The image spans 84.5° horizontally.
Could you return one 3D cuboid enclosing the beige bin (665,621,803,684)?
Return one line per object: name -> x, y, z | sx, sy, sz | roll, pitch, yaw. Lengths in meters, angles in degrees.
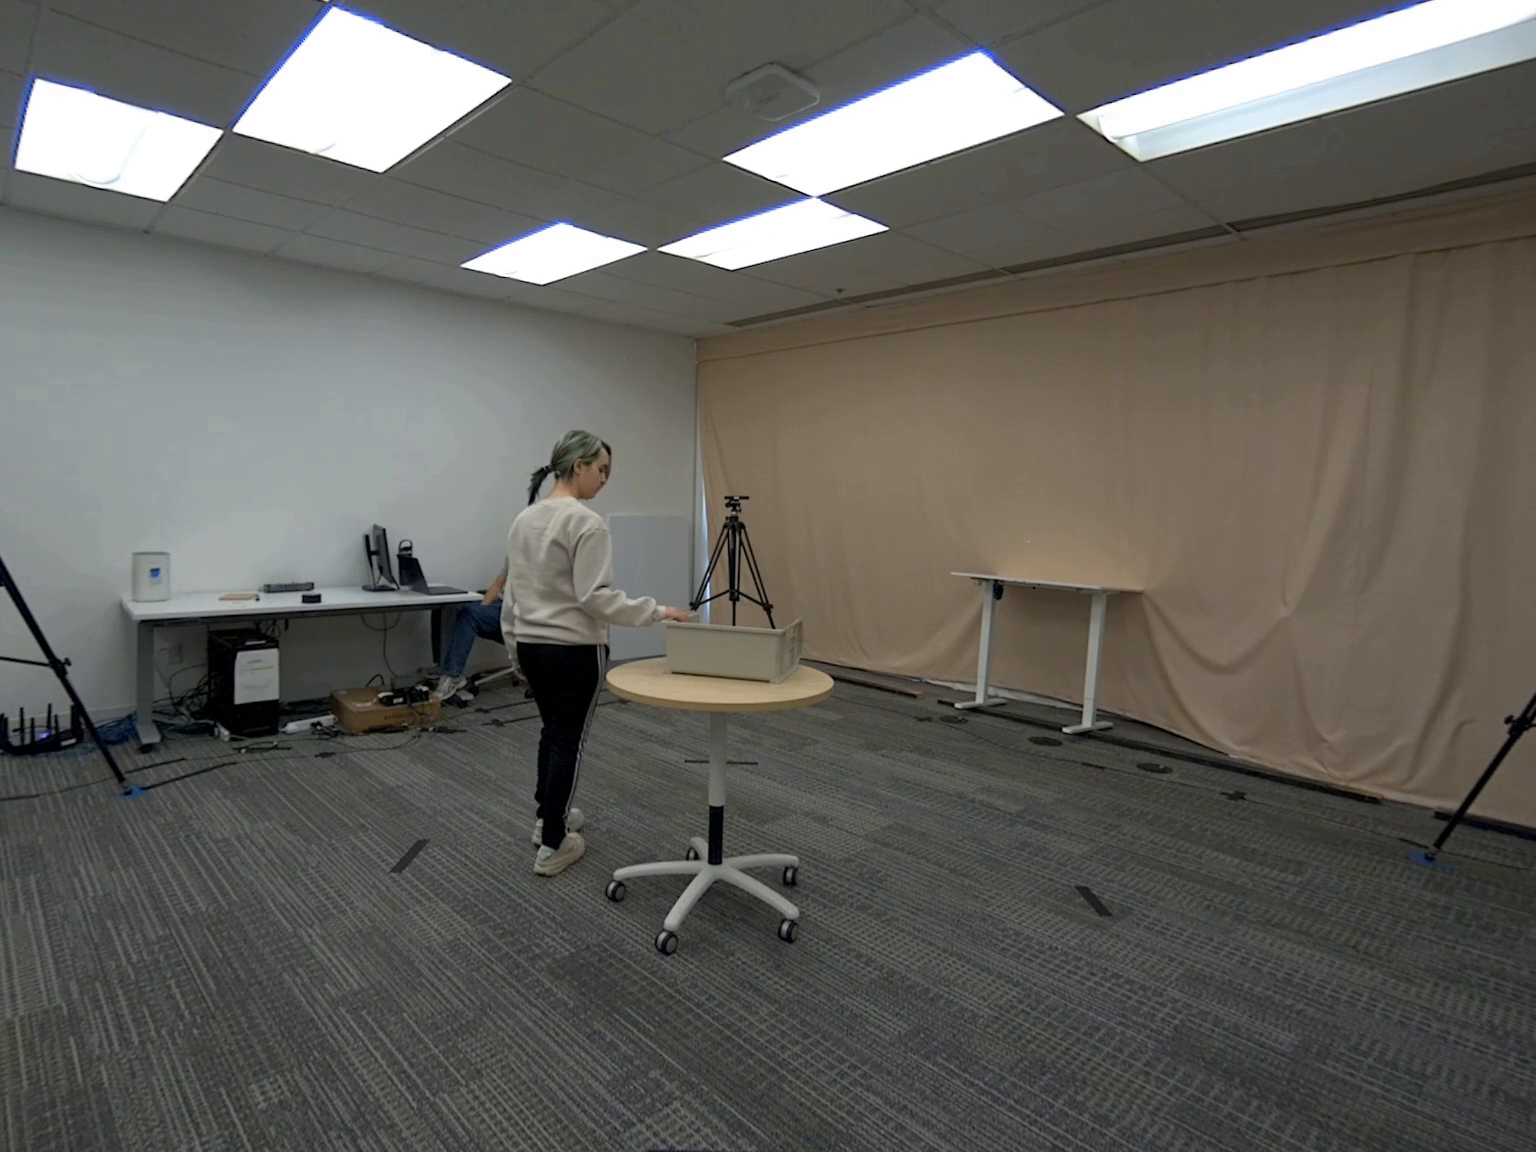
beige bin -> -0.121, 0.240, 2.973 | 0.428, 0.188, 0.374 | 3, 7, 16
